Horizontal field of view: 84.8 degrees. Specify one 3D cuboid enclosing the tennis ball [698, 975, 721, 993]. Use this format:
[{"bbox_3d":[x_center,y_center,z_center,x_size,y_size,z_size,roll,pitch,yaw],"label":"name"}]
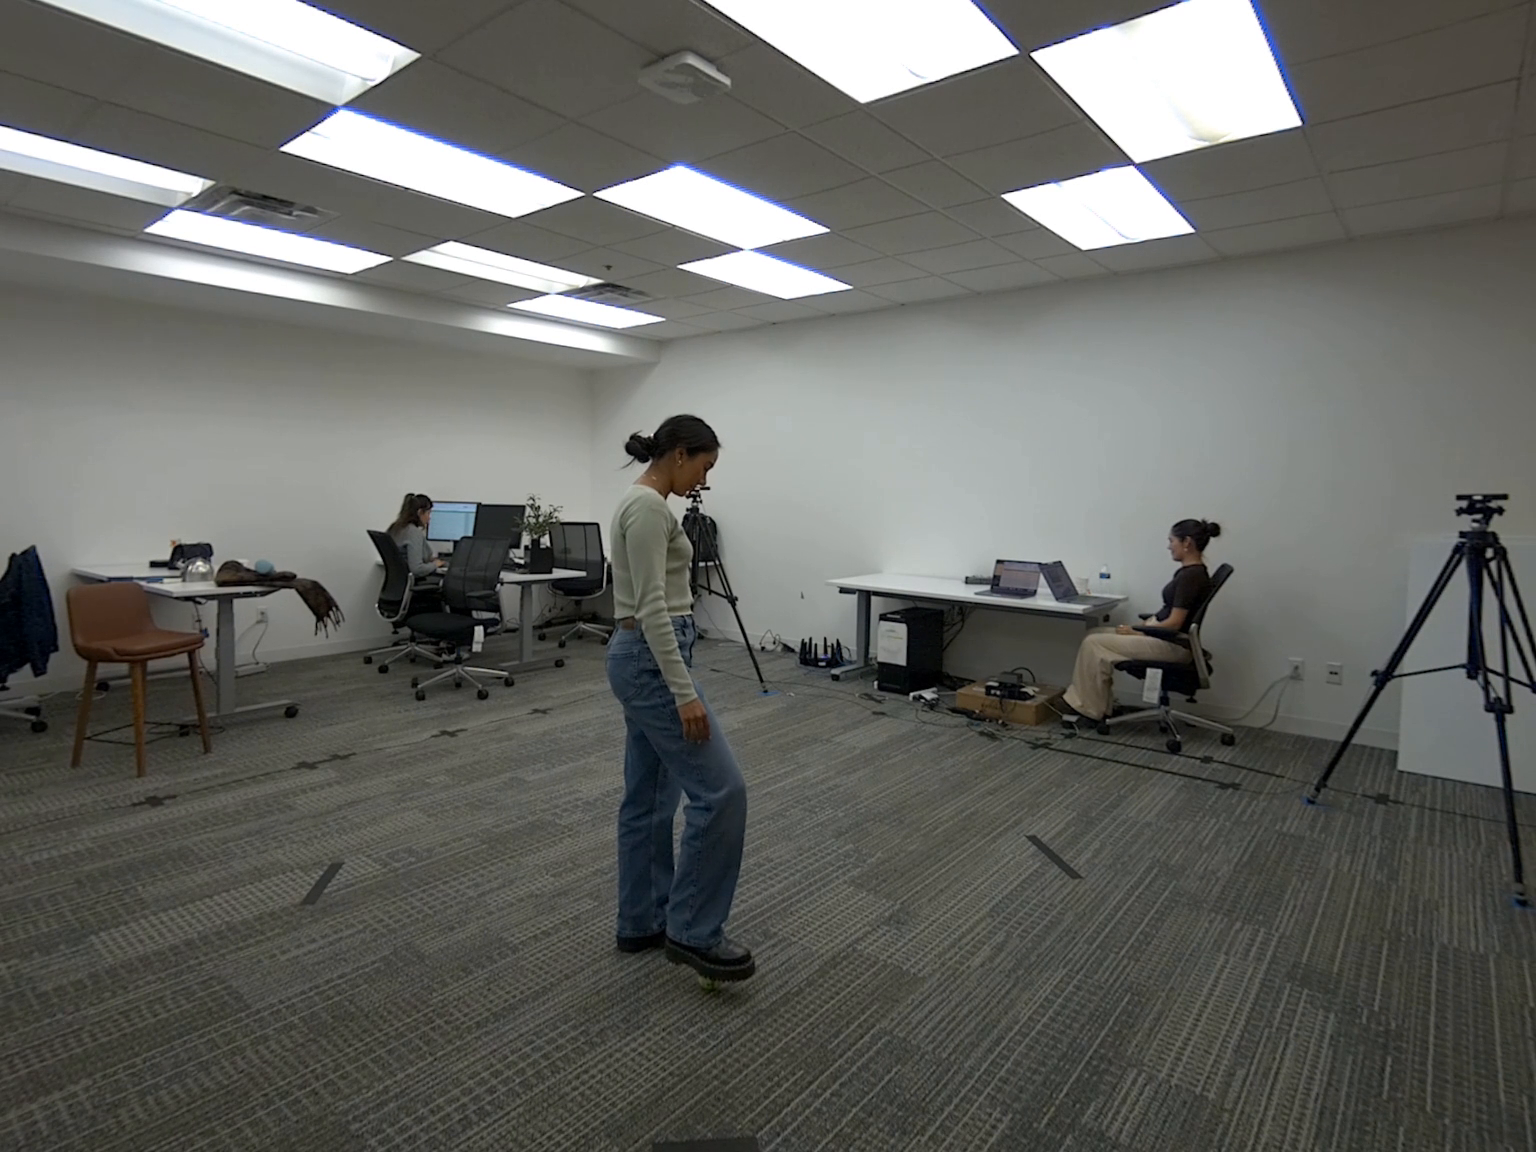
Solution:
[{"bbox_3d":[-0.169,1.117,2.356,0.066,0.066,0.067,1,4,-2],"label":"tennis ball"}]
